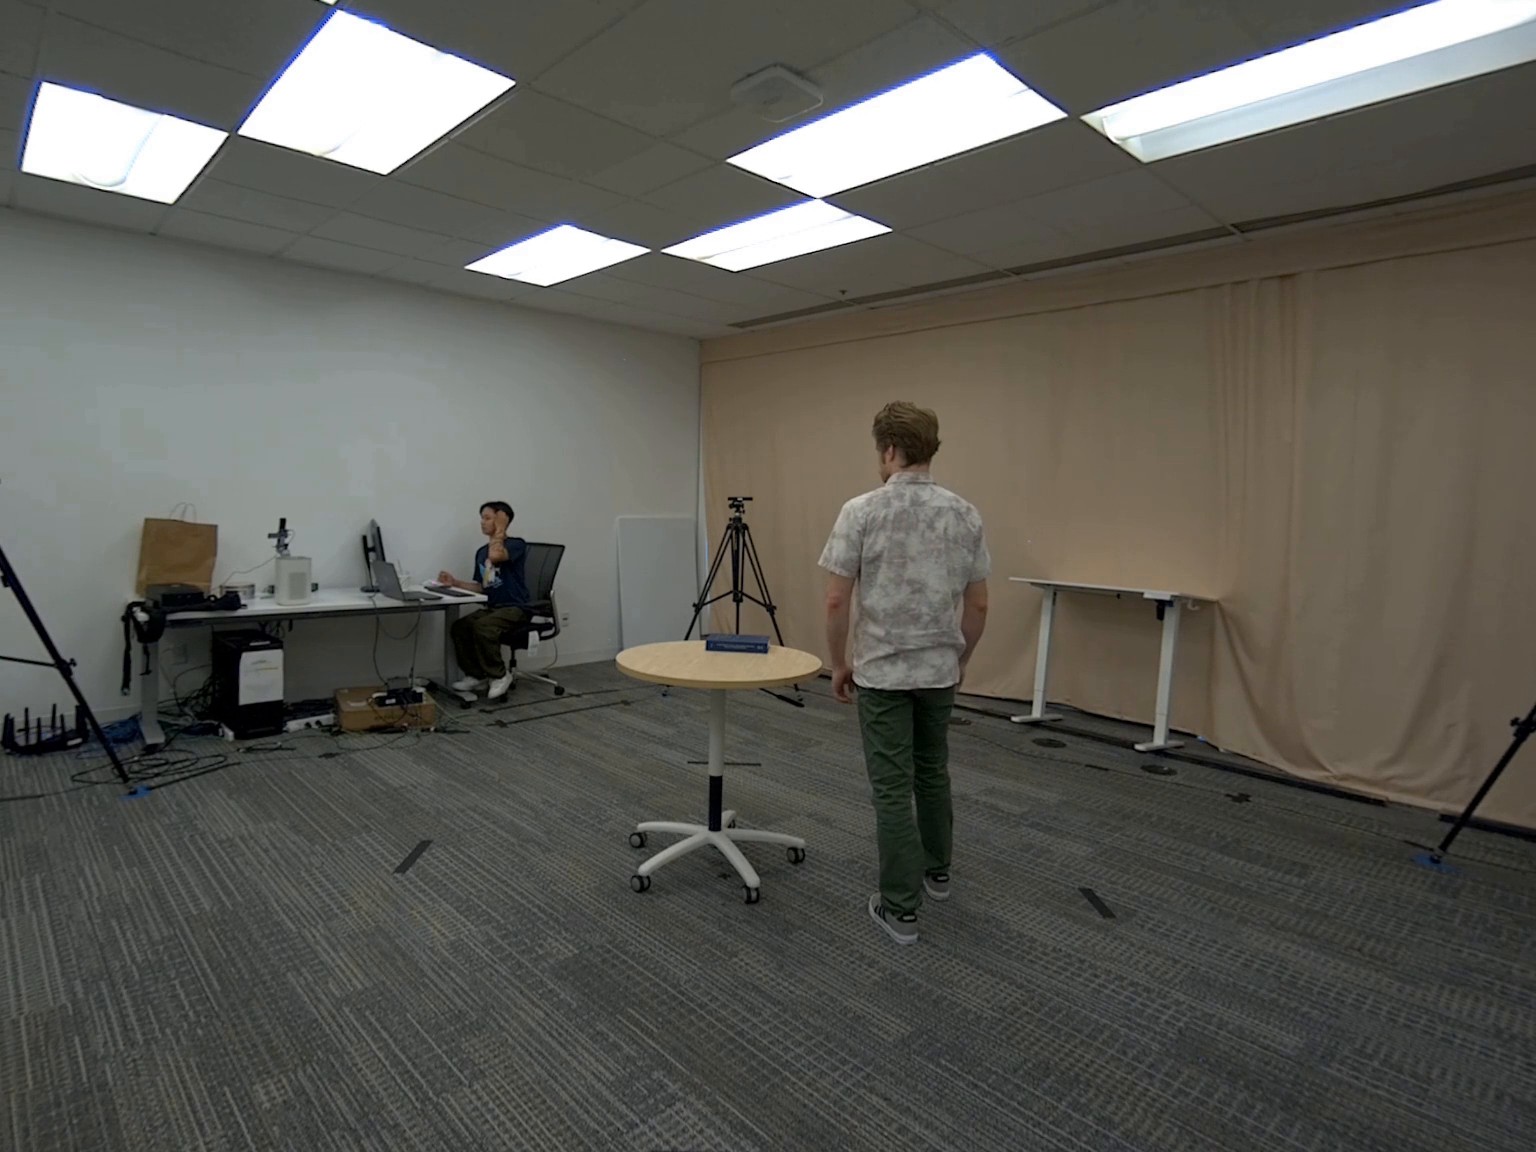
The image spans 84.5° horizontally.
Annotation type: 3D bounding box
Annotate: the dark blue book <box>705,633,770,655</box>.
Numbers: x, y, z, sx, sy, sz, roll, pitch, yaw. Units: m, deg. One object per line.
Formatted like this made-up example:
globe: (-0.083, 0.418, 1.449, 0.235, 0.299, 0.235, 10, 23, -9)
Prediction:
dark blue book: (-0.119, 0.265, 3.364, 0.246, 0.045, 0.163, 2, 5, 6)
